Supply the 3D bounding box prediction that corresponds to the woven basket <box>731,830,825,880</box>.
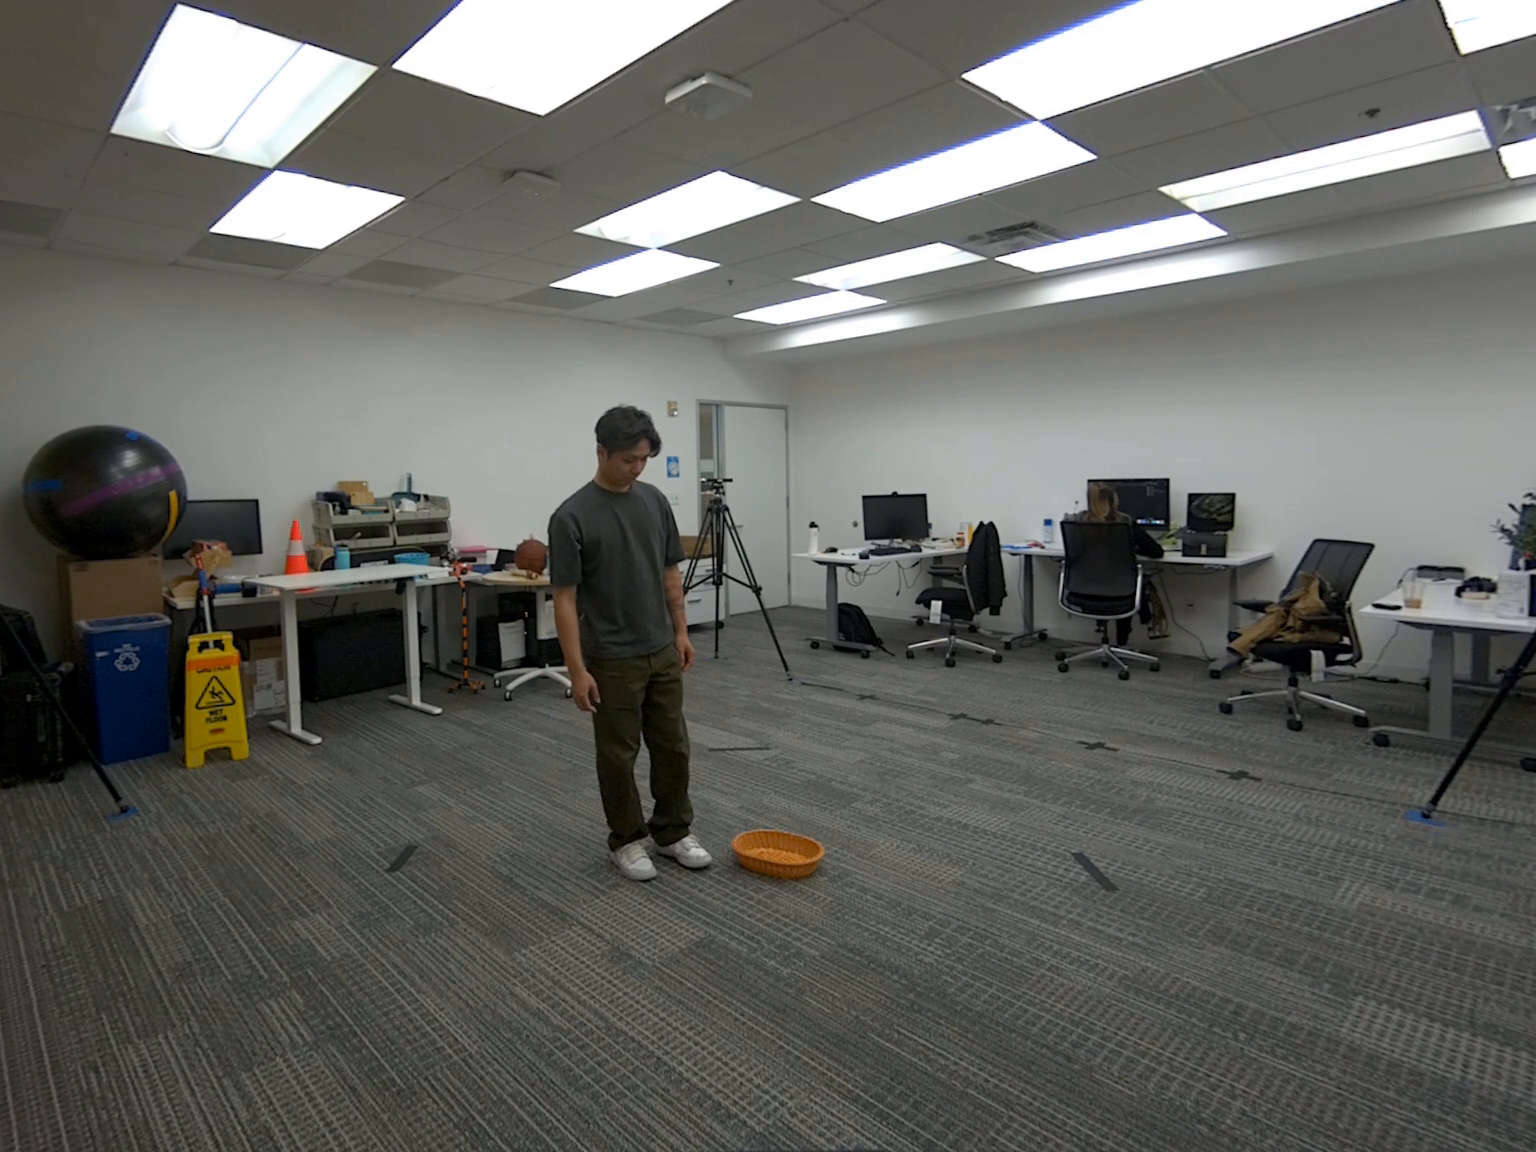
[{"bbox_3d":[0.036,0.999,3.091,0.360,0.073,0.247,3,7,30],"label":"woven basket"}]
